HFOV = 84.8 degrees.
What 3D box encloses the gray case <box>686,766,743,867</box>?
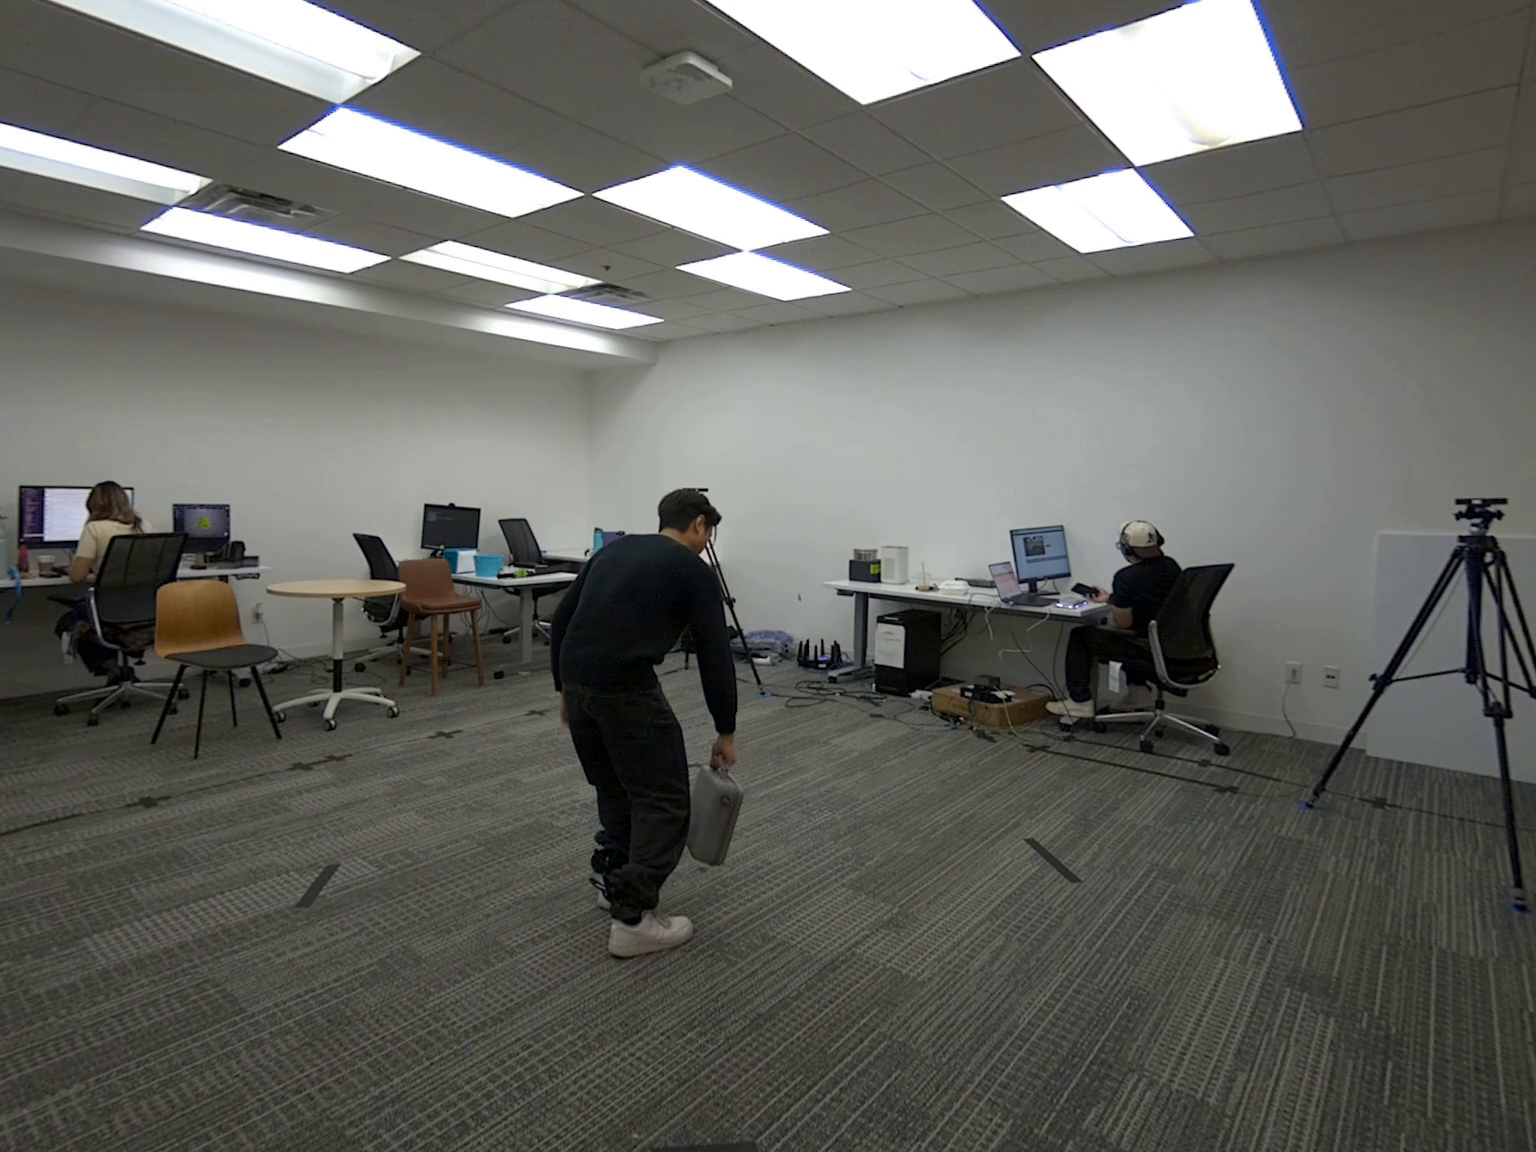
[{"bbox_3d":[-0.186,0.757,2.706,0.103,0.261,0.260,17,-3,-14],"label":"gray case"}]
